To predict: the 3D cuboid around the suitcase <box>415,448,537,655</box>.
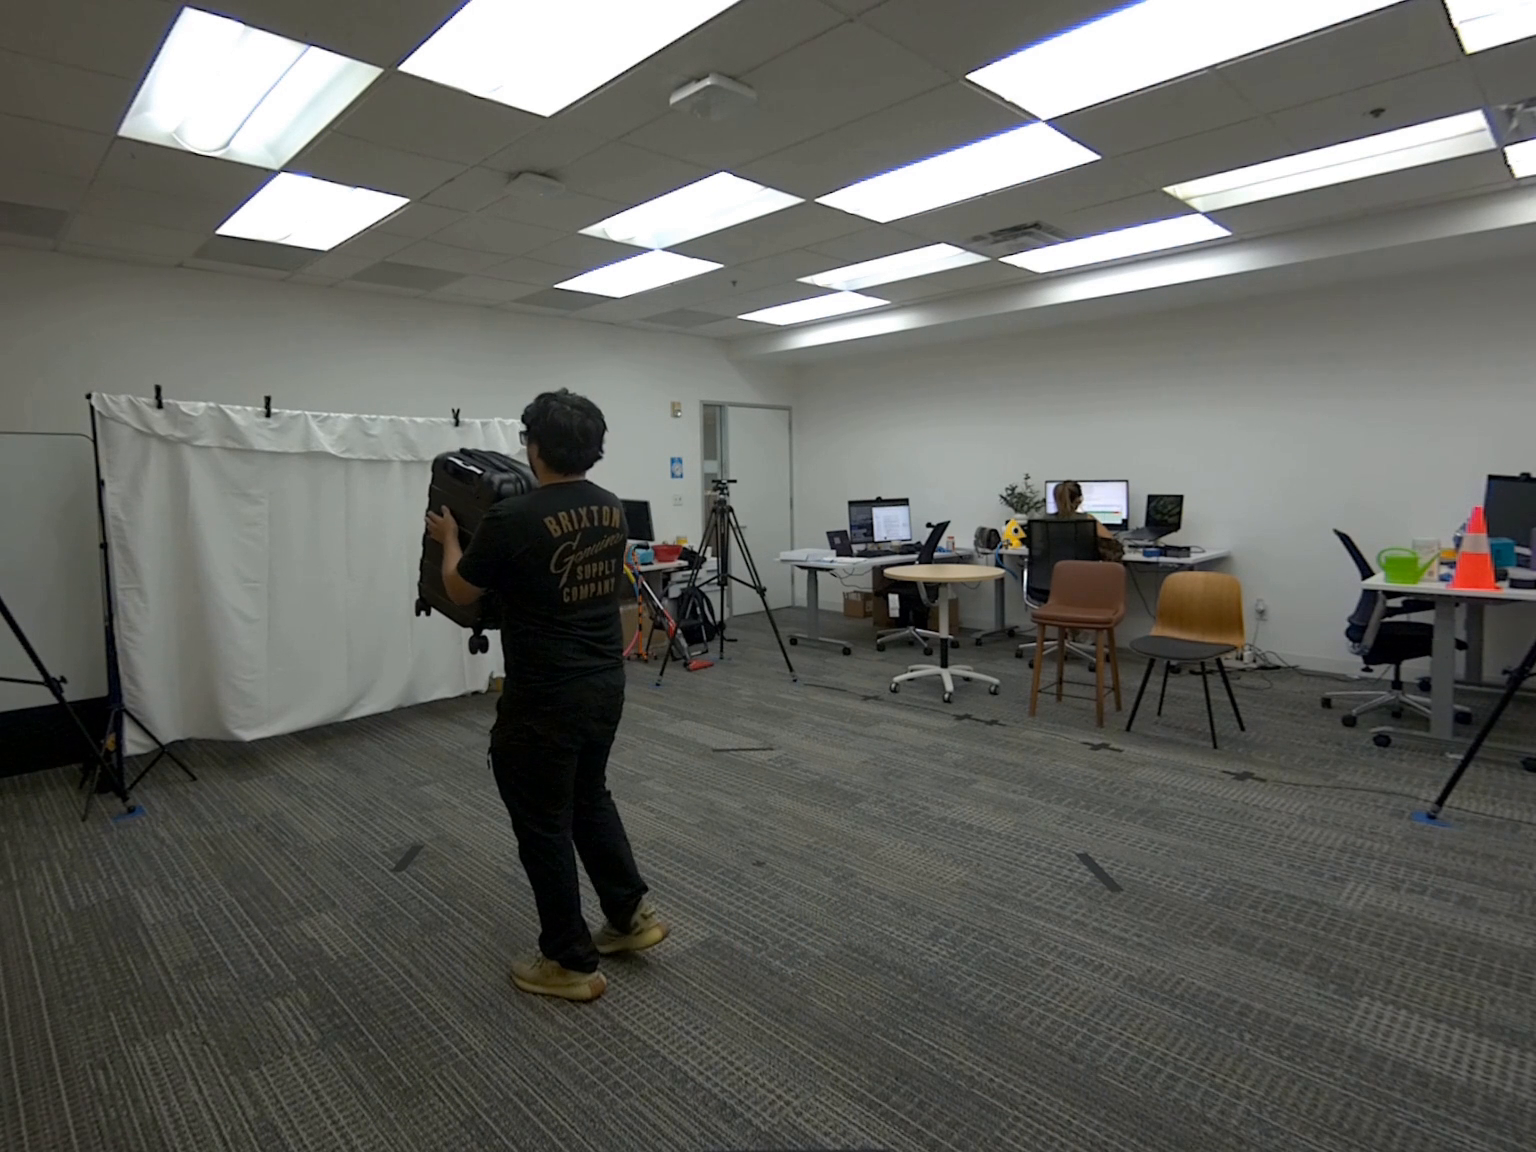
[{"bbox_3d":[-0.867,-0.102,2.628,0.388,0.544,0.242,23,18,34],"label":"suitcase"}]
